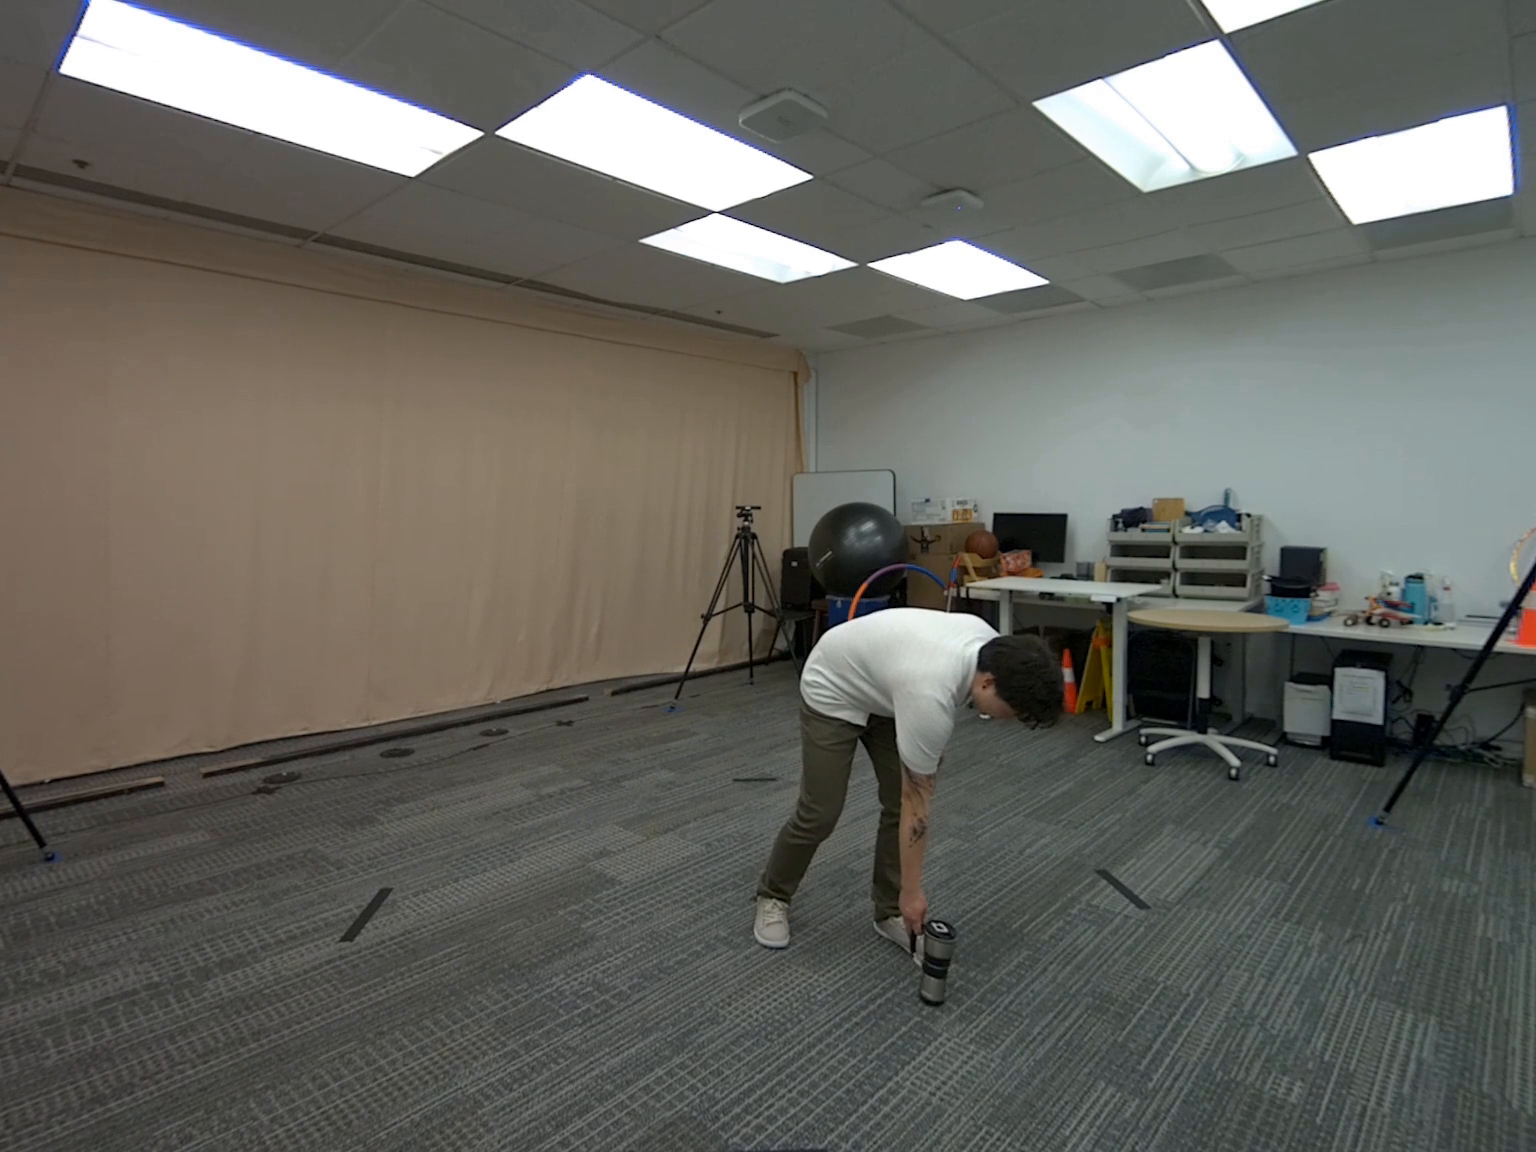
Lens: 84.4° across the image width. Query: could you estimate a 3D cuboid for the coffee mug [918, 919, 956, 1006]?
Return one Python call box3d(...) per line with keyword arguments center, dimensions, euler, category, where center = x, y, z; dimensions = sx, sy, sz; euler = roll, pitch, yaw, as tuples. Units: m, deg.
box3d(center=(0.463, 1.077, 2.390), dimensions=(0.085, 0.202, 0.125), euler=(4, 7, -28), category="coffee mug")
